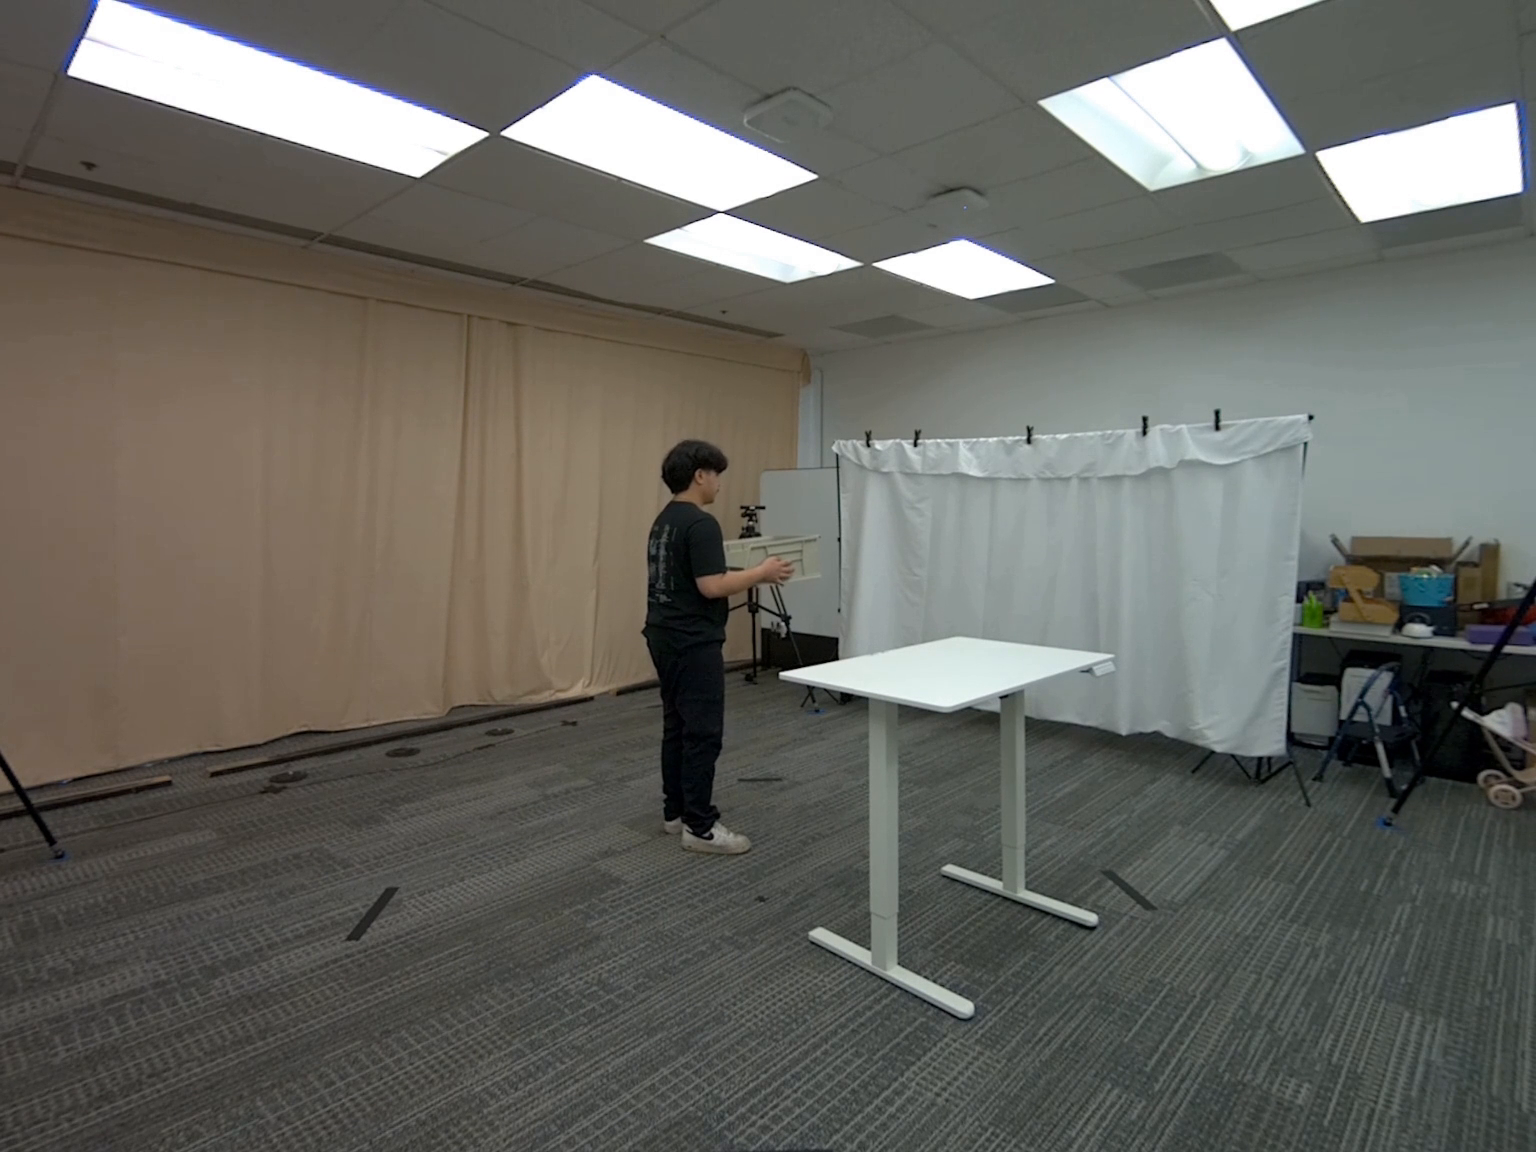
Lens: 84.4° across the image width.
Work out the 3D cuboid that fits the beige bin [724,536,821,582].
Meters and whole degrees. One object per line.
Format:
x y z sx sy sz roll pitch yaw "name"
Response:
-0.014 -0.067 3.697 0.369 0.188 0.432 -7 5 -23 "beige bin"
